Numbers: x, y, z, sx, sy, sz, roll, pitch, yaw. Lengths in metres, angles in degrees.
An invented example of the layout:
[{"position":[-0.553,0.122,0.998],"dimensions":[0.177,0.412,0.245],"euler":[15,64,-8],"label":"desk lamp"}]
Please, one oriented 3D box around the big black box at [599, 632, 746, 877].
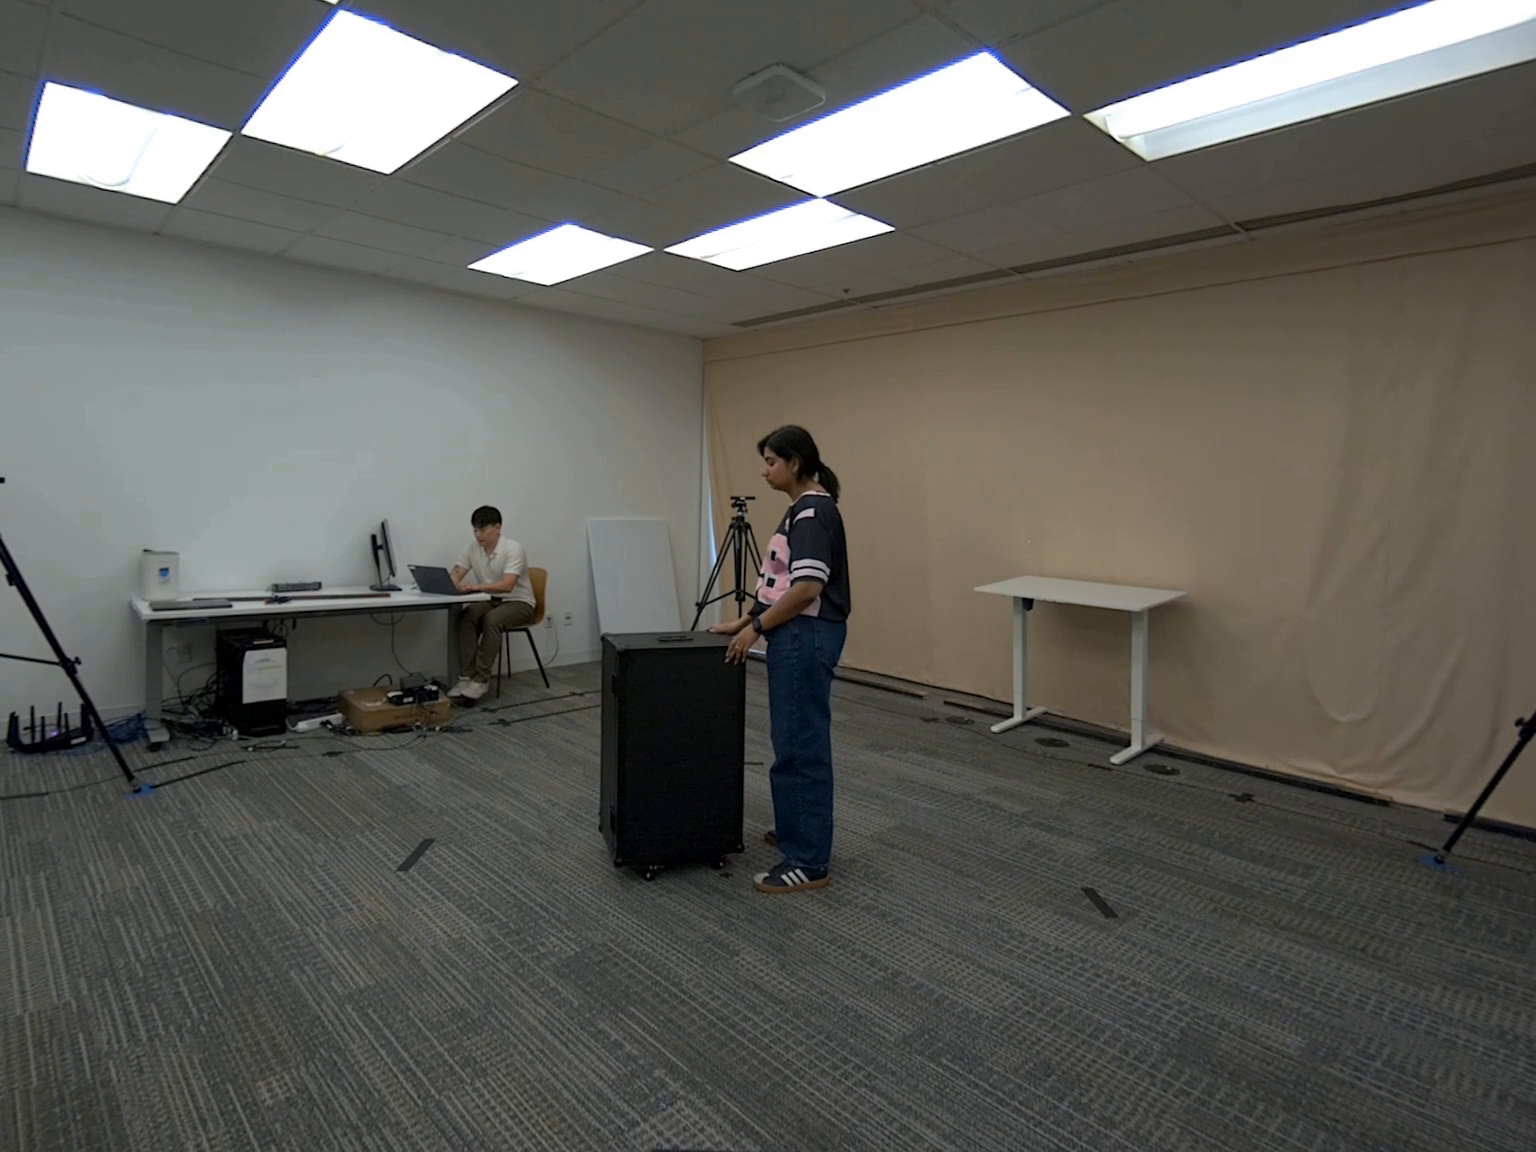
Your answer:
[{"position":[-0.385,0.667,3.208],"dimensions":[0.515,0.867,0.392],"euler":[0,3,-21],"label":"big black box"}]
